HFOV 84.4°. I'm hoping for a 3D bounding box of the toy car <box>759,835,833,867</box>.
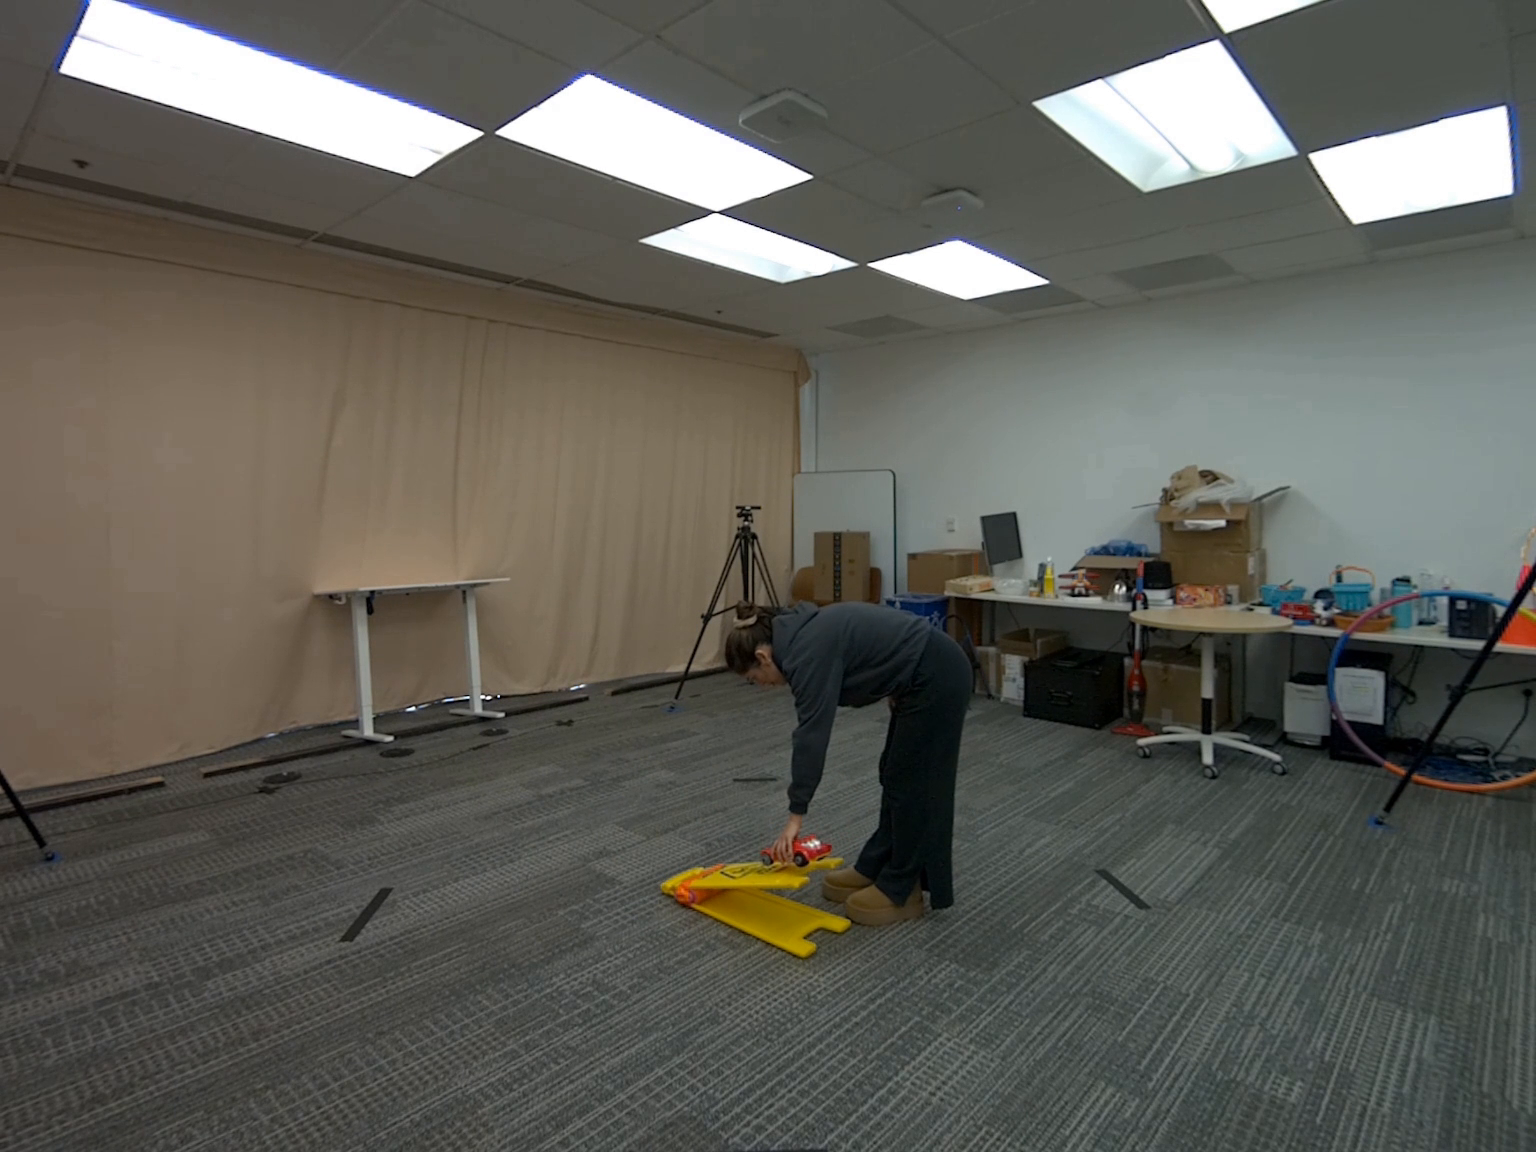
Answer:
[{"bbox_3d":[0.123,0.907,2.733,0.126,0.084,0.259,0,-23,-47],"label":"toy car"}]
